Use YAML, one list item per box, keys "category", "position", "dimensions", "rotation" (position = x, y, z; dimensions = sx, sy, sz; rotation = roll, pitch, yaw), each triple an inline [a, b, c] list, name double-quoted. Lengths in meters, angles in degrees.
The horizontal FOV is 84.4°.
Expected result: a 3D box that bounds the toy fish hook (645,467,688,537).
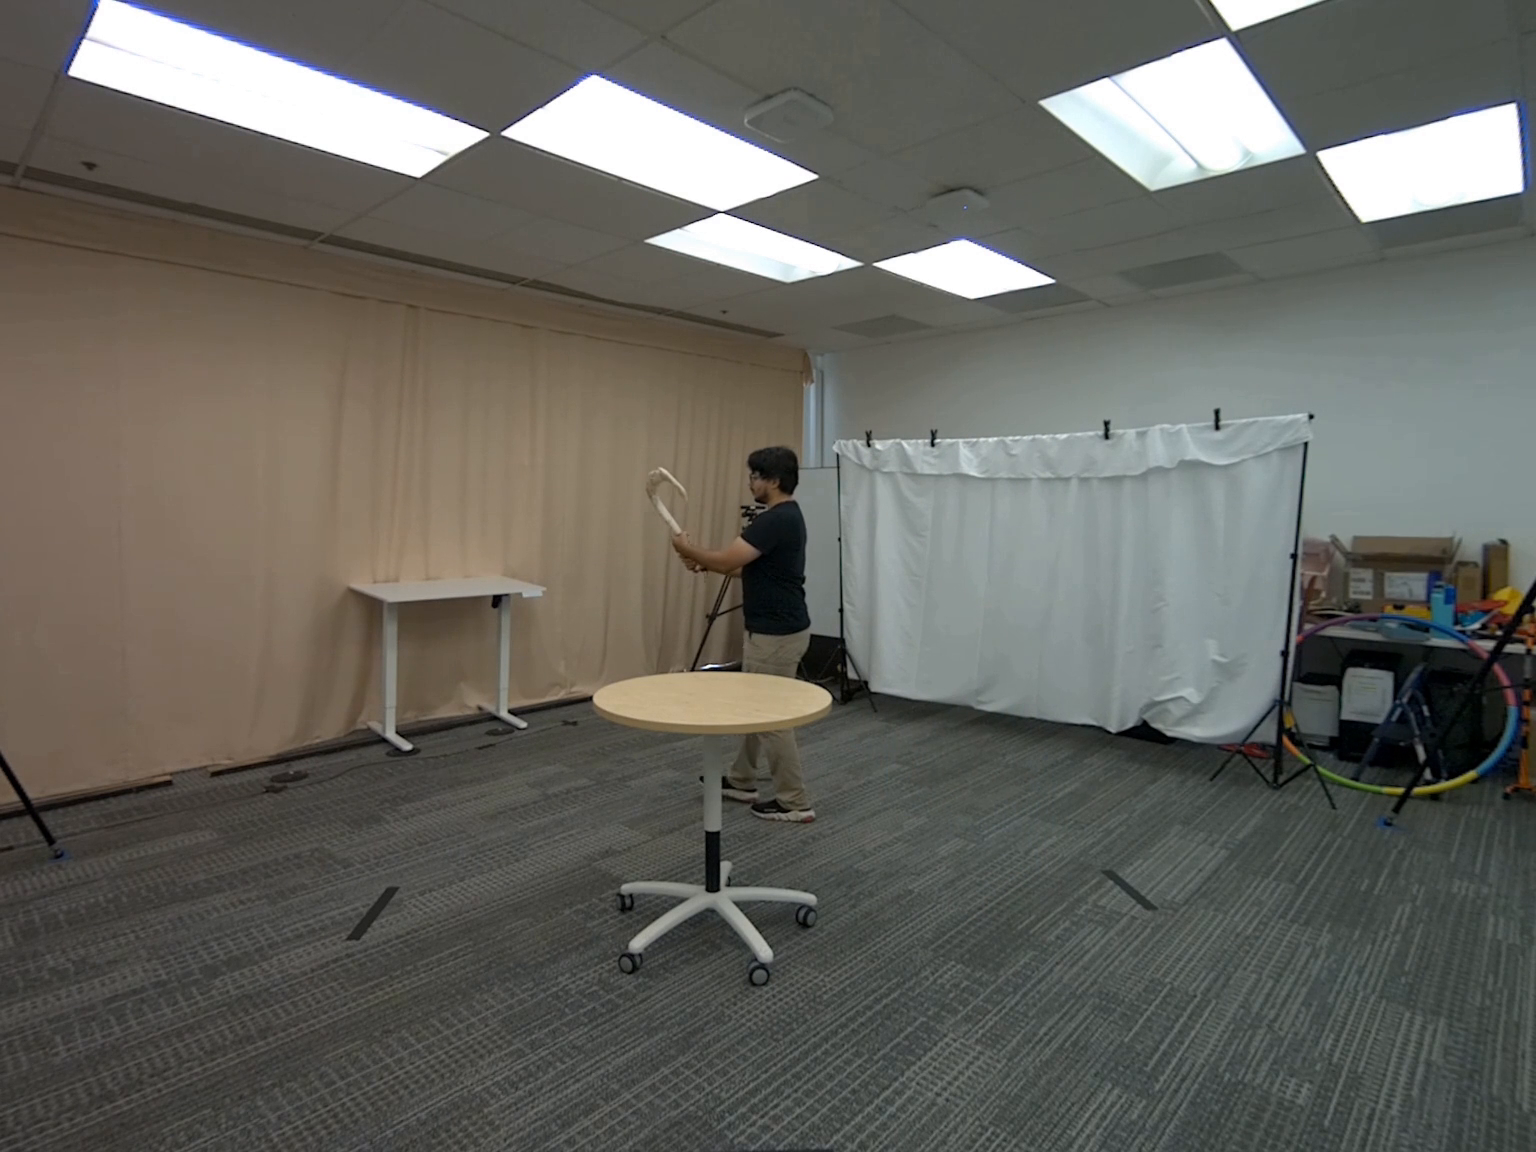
- category: "toy fish hook"
  position: [-0.398, -0.249, 3.828]
  dimensions: [0.047, 0.503, 0.230]
  rotation: [-34, 9, -39]
